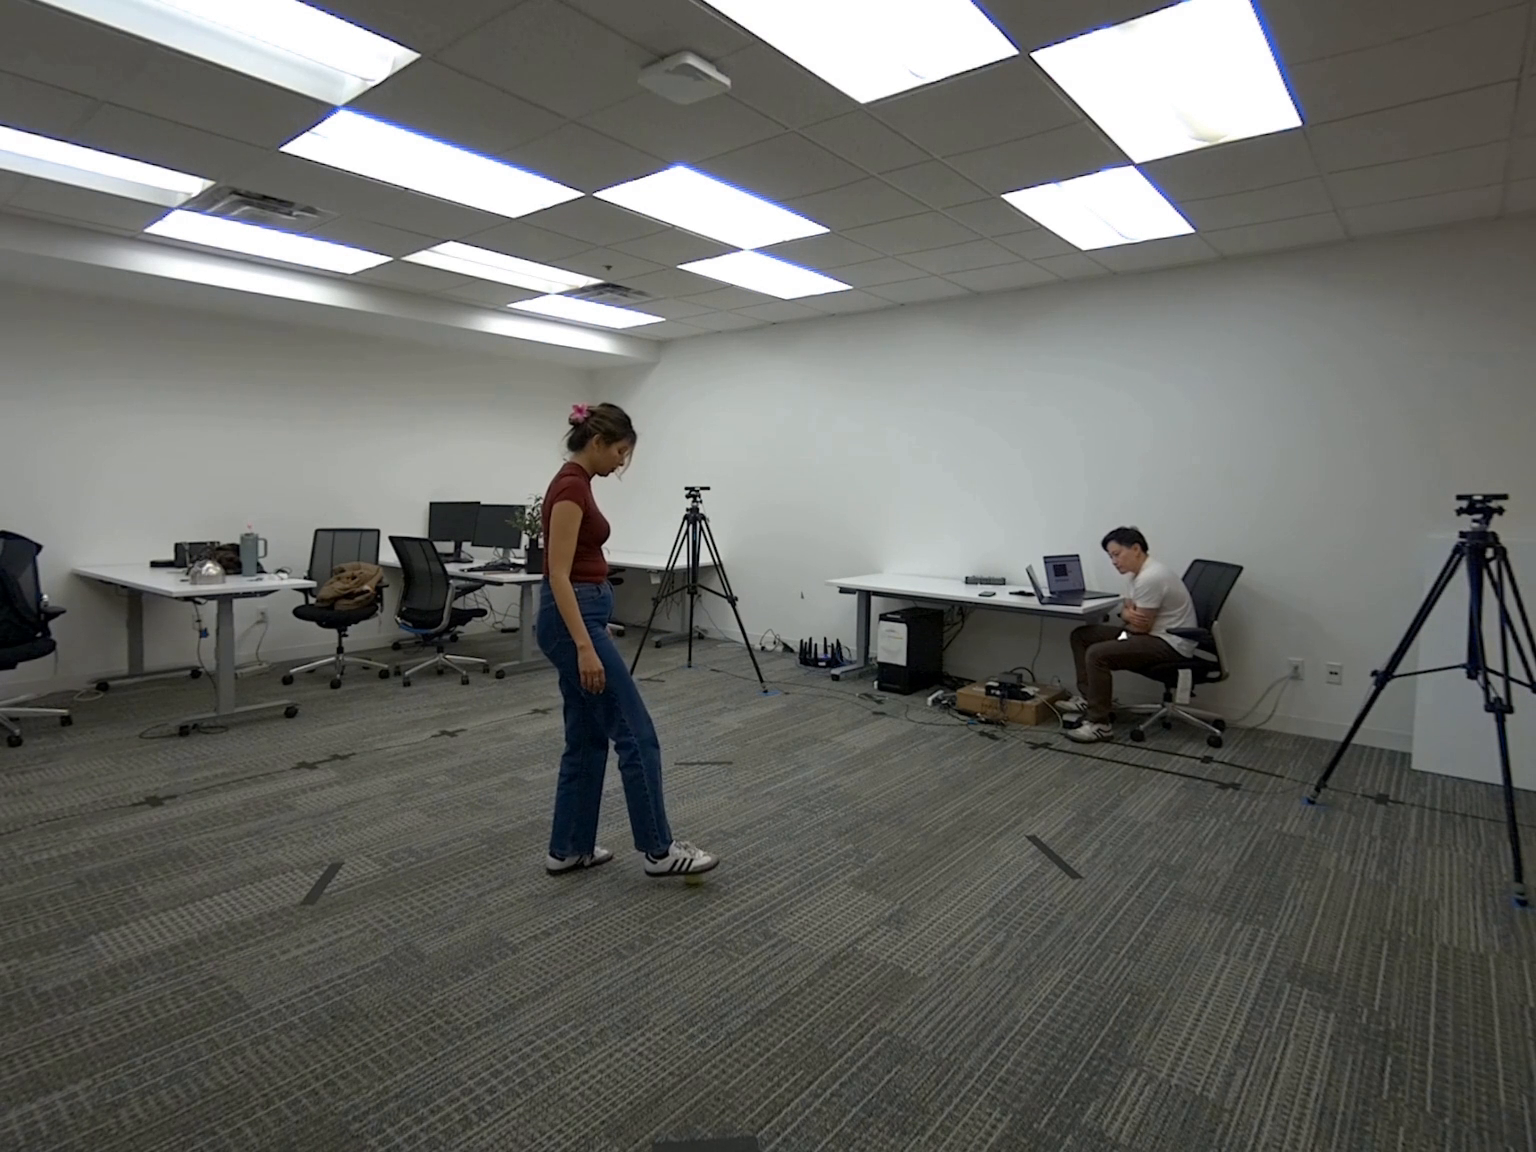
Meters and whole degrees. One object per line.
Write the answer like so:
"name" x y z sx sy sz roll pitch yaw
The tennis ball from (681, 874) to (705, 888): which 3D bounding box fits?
"tennis ball" -0.264 1.036 2.987 0.066 0.066 0.067 1 4 -2
